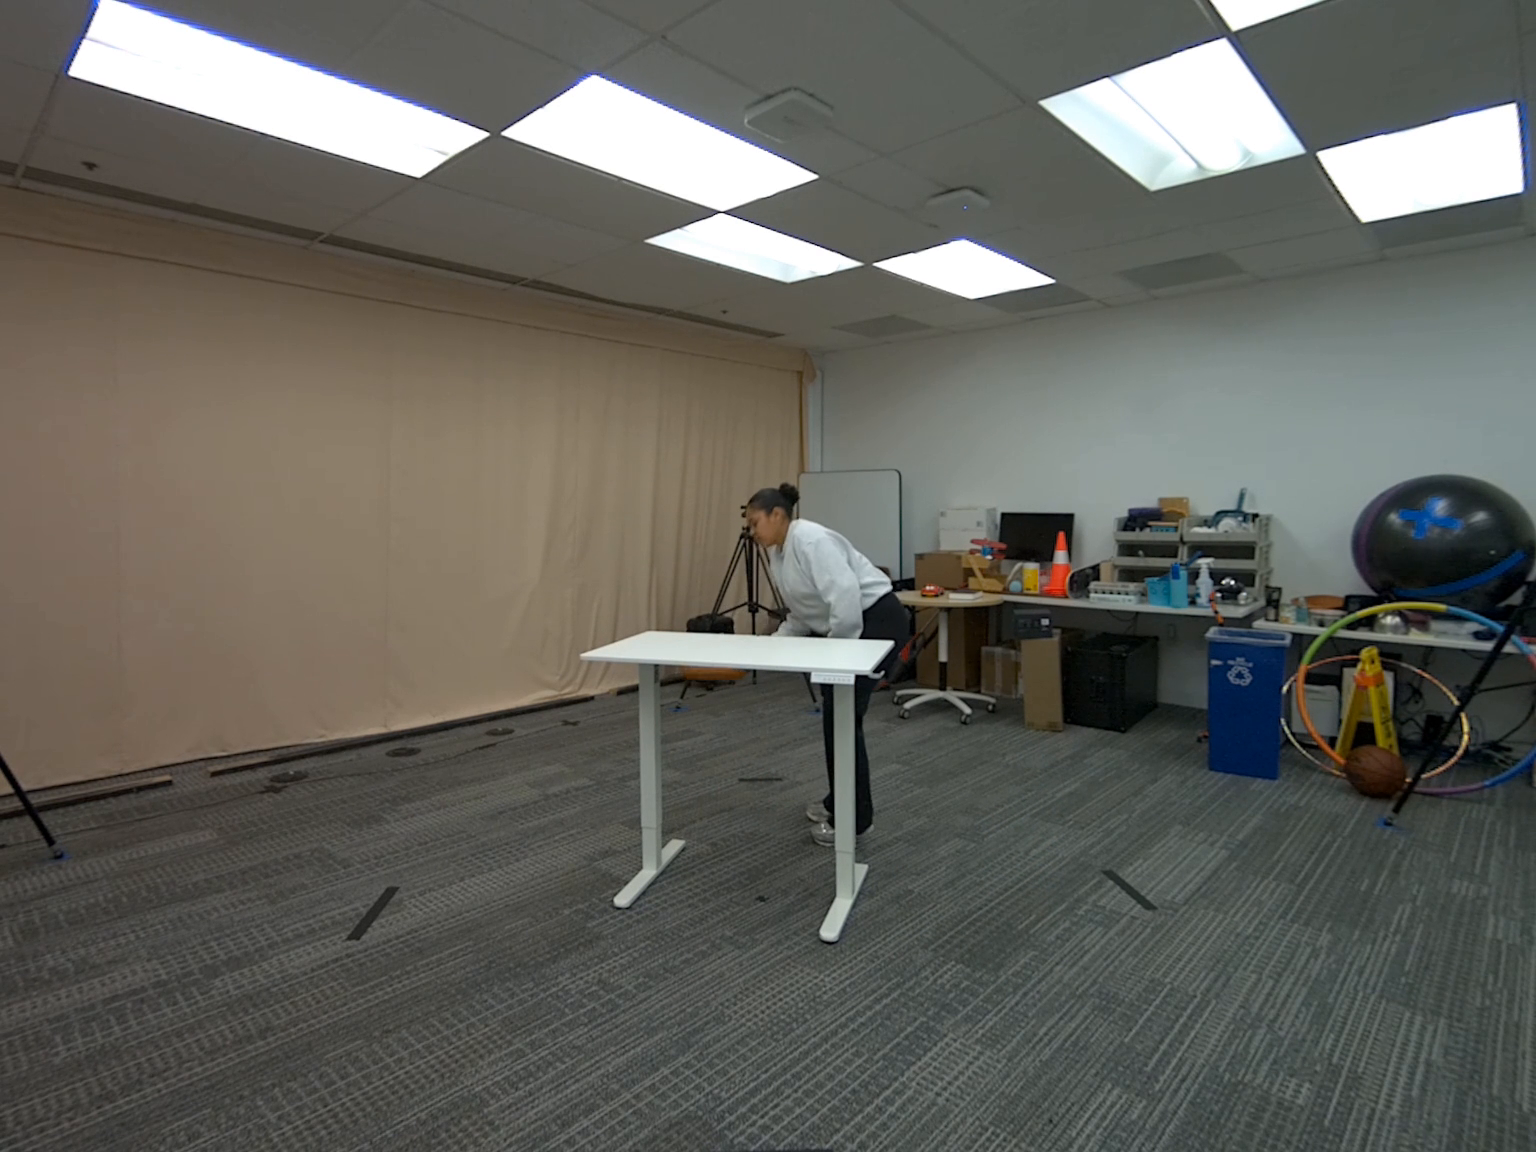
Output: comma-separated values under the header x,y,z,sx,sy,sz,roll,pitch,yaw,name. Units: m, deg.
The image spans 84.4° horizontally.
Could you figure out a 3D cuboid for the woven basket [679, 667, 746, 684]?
x,y,z,sx,sy,sz,roll,pitch,yaw,name
-0.249,0.427,3.757,0.358,0.074,0.245,-3,-15,22,woven basket
